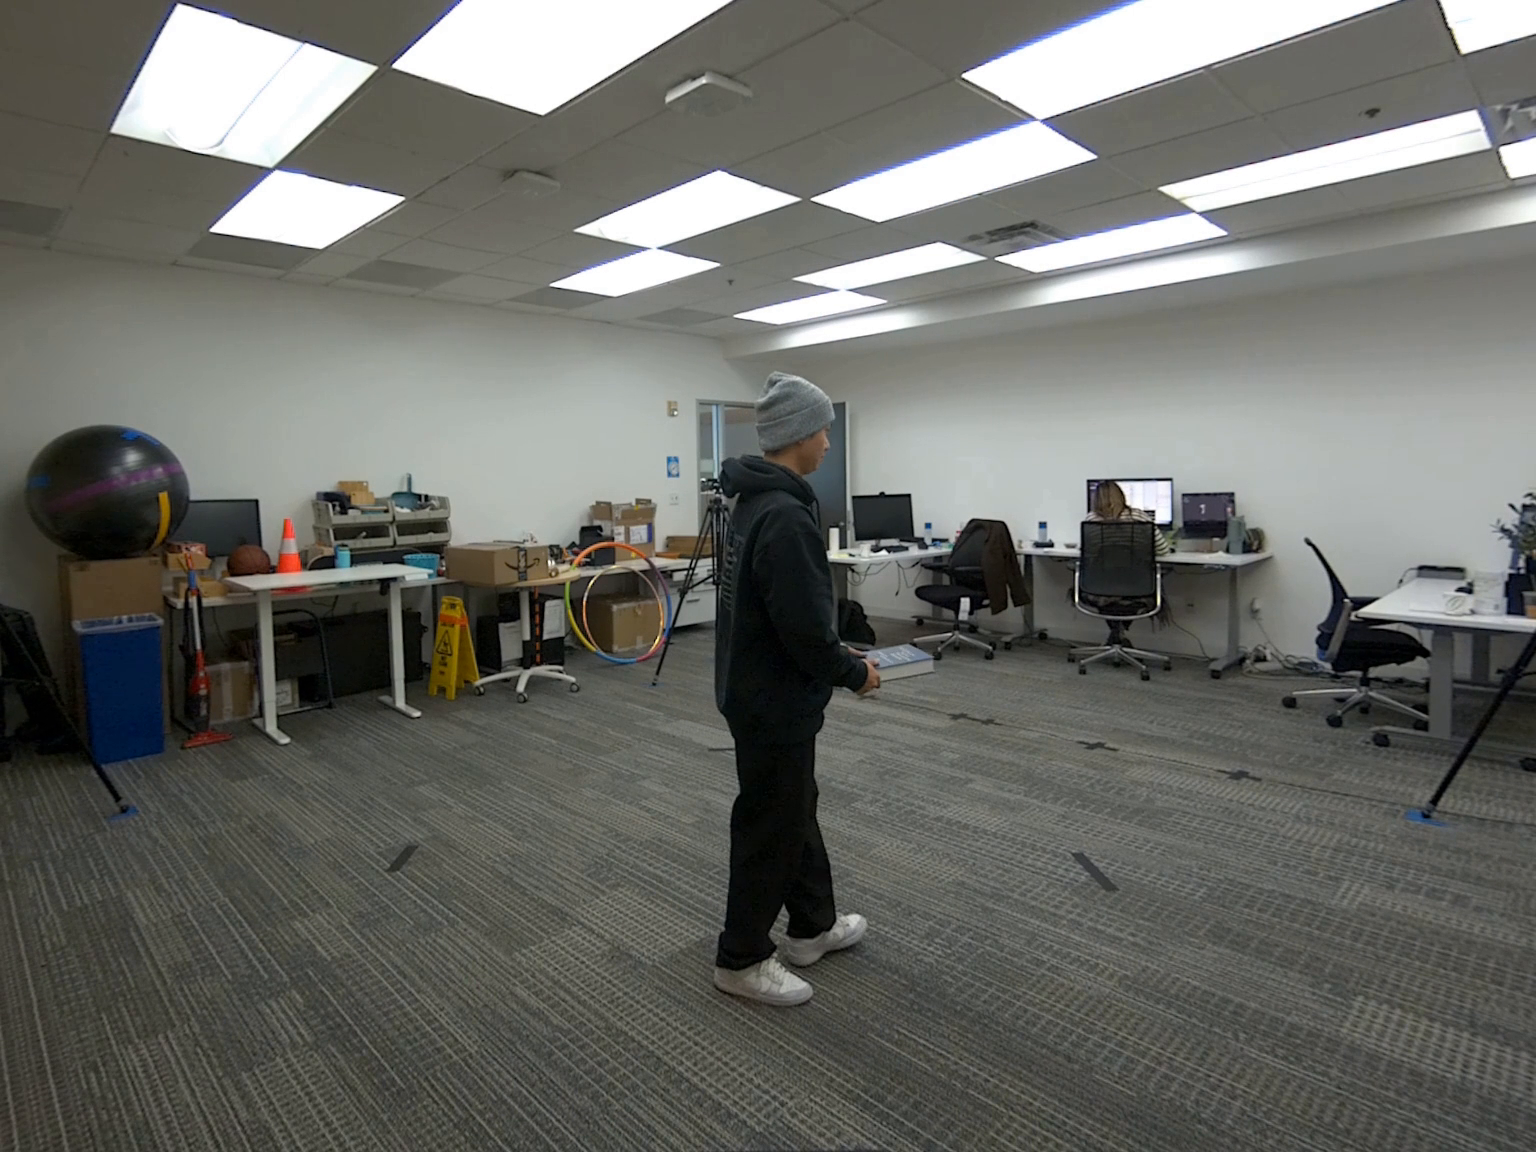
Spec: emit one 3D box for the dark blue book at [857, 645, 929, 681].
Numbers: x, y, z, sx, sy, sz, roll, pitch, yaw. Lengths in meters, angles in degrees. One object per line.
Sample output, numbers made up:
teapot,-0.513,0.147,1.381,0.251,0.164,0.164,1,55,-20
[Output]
dark blue book,0.301,0.246,2.391,0.245,0.045,0.165,-6,9,-2
